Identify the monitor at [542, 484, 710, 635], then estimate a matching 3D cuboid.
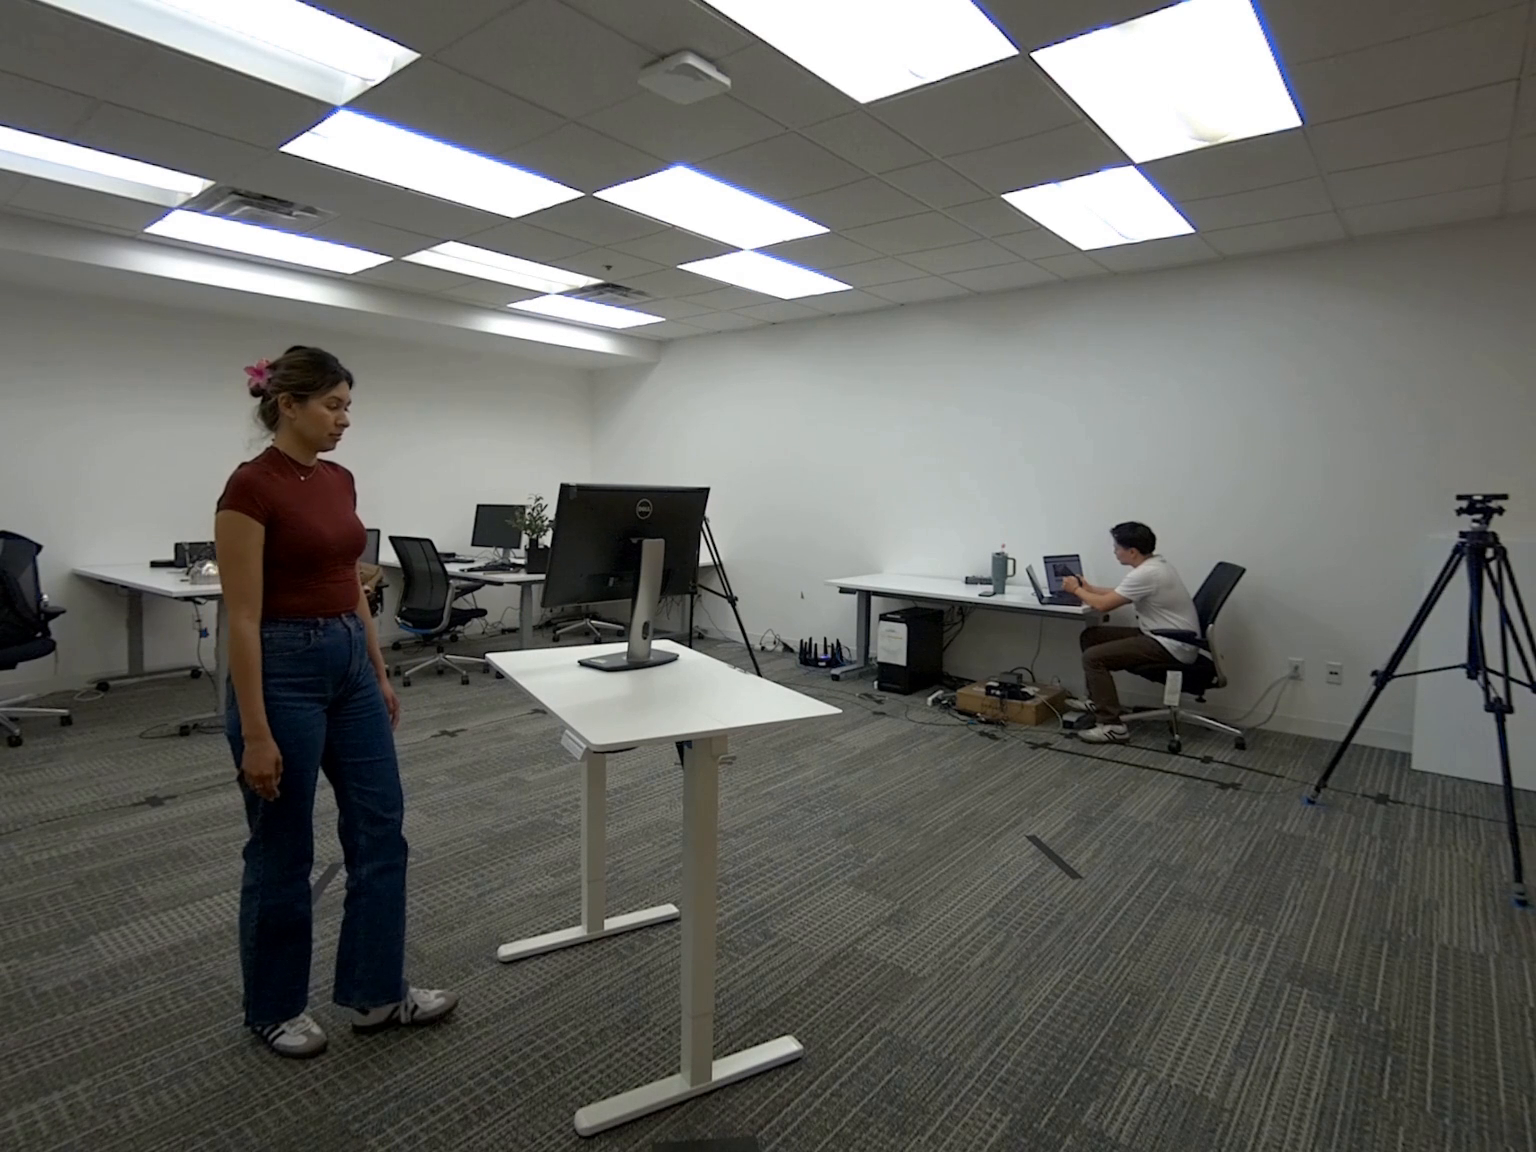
[{"bbox_3d":[-0.394,-0.001,2.441,0.194,0.520,0.523,7,7,42],"label":"monitor"}]
